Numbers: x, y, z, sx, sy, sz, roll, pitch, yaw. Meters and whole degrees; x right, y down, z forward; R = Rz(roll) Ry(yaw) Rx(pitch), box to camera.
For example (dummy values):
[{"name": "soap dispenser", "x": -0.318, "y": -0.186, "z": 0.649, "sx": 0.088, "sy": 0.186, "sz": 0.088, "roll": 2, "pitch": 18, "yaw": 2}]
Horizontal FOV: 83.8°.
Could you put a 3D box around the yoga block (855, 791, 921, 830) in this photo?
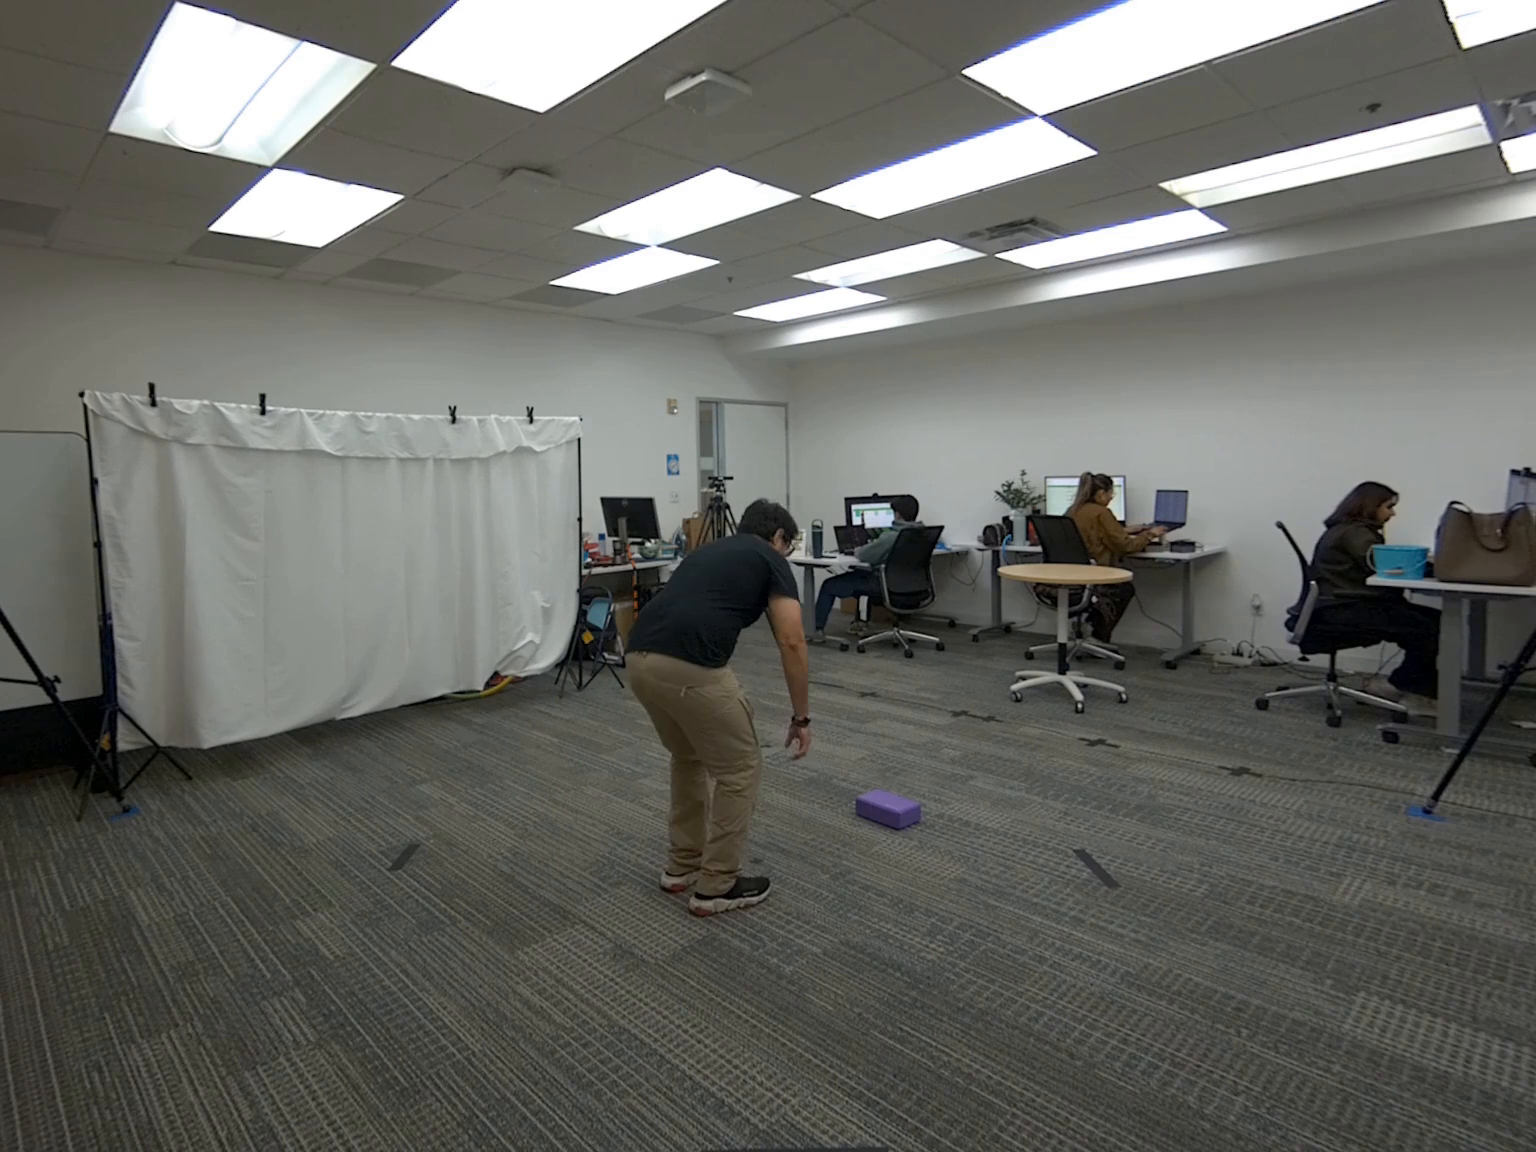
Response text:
[{"name": "yoga block", "x": 0.489, "y": 0.946, "z": 3.471, "sx": 0.145, "sy": 0.076, "sz": 0.236, "roll": -5, "pitch": 7, "yaw": -41}]
